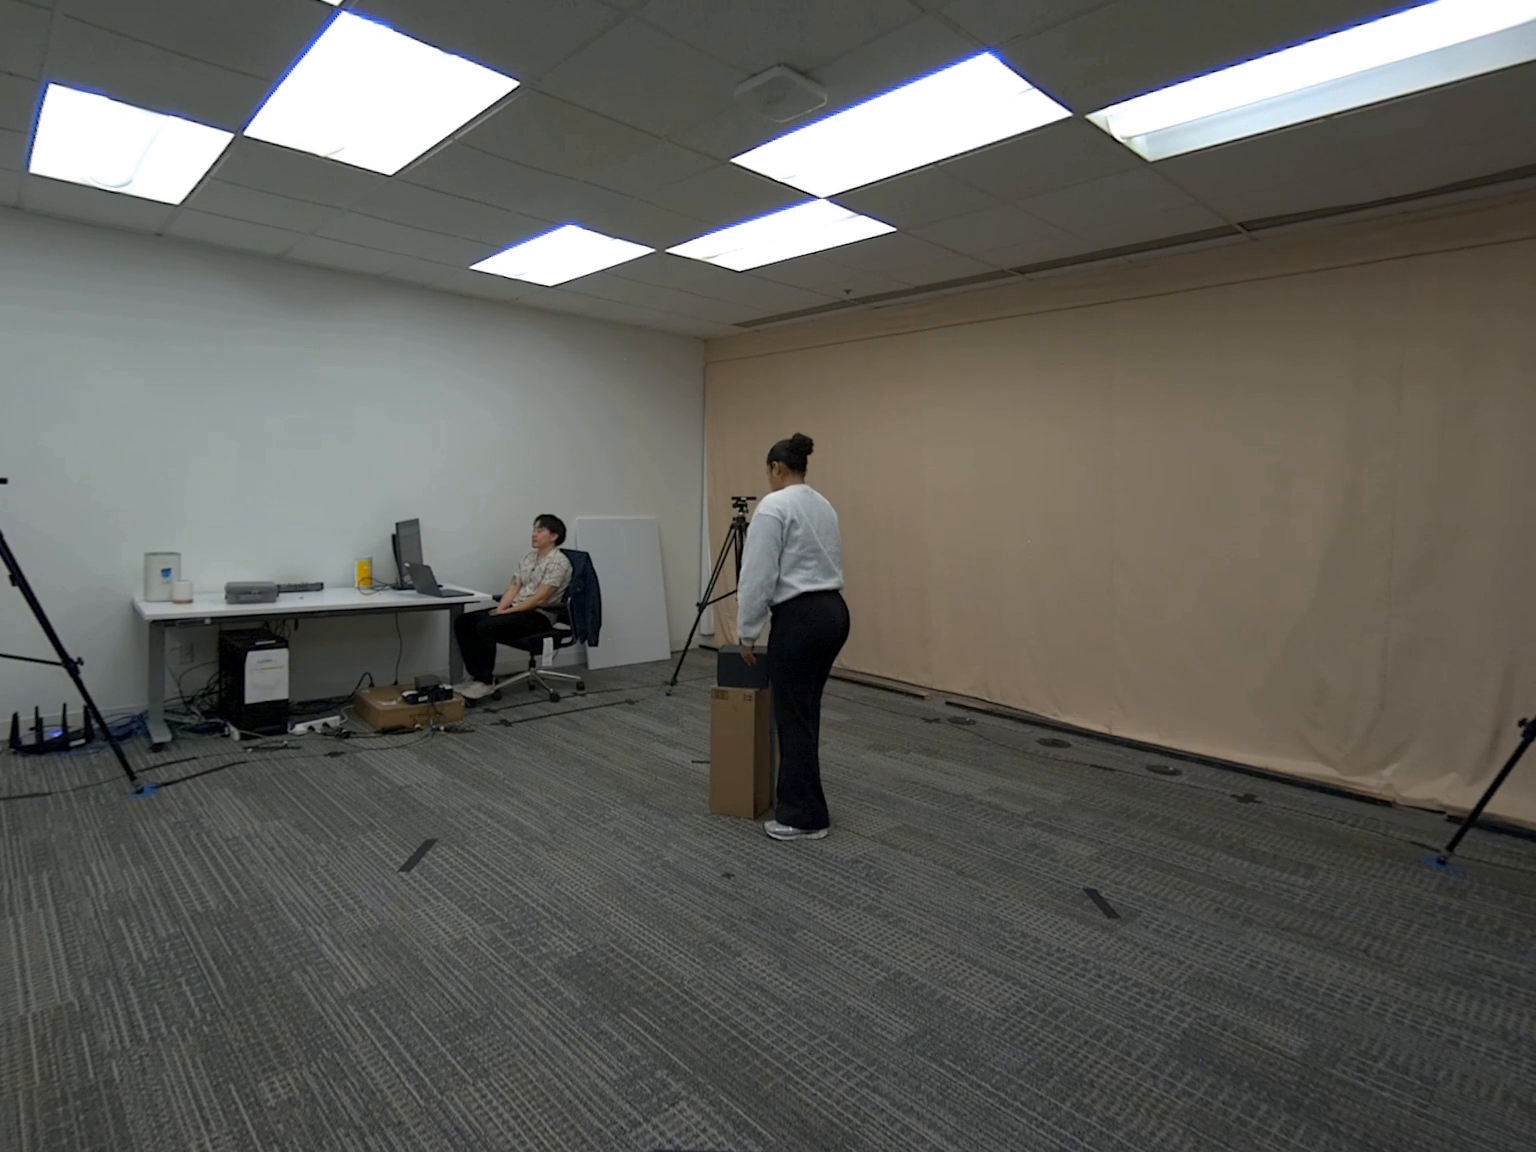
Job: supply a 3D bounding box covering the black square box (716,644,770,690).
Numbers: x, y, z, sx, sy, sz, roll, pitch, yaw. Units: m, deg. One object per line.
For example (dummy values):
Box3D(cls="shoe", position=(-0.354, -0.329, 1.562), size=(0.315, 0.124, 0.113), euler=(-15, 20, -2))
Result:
Box3D(cls="black square box", position=(-0.107, 0.394, 3.770), size=(0.229, 0.155, 0.216), euler=(2, 5, 6))
